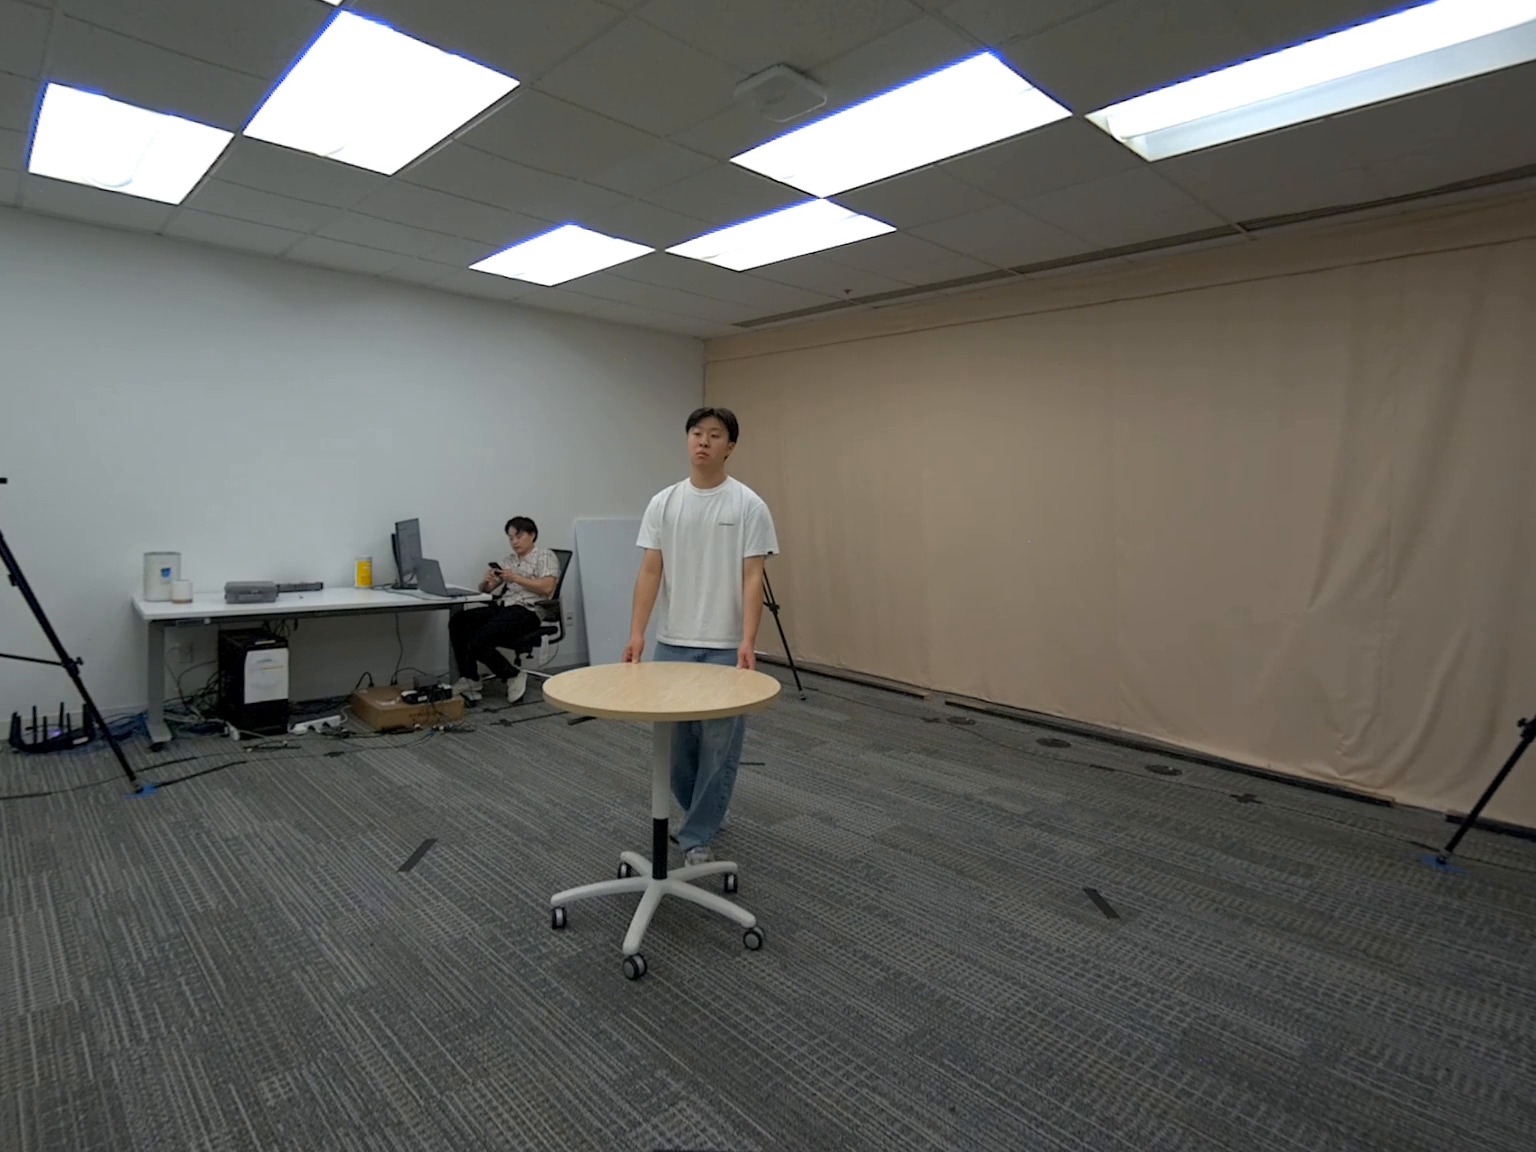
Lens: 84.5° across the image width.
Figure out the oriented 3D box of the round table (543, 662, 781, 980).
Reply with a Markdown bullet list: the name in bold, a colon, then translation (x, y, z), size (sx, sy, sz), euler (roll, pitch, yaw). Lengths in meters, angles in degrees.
- **round table**: translation (-0.354, 0.745, 2.751), size (0.763, 0.792, 0.766), euler (1, 4, -1)
